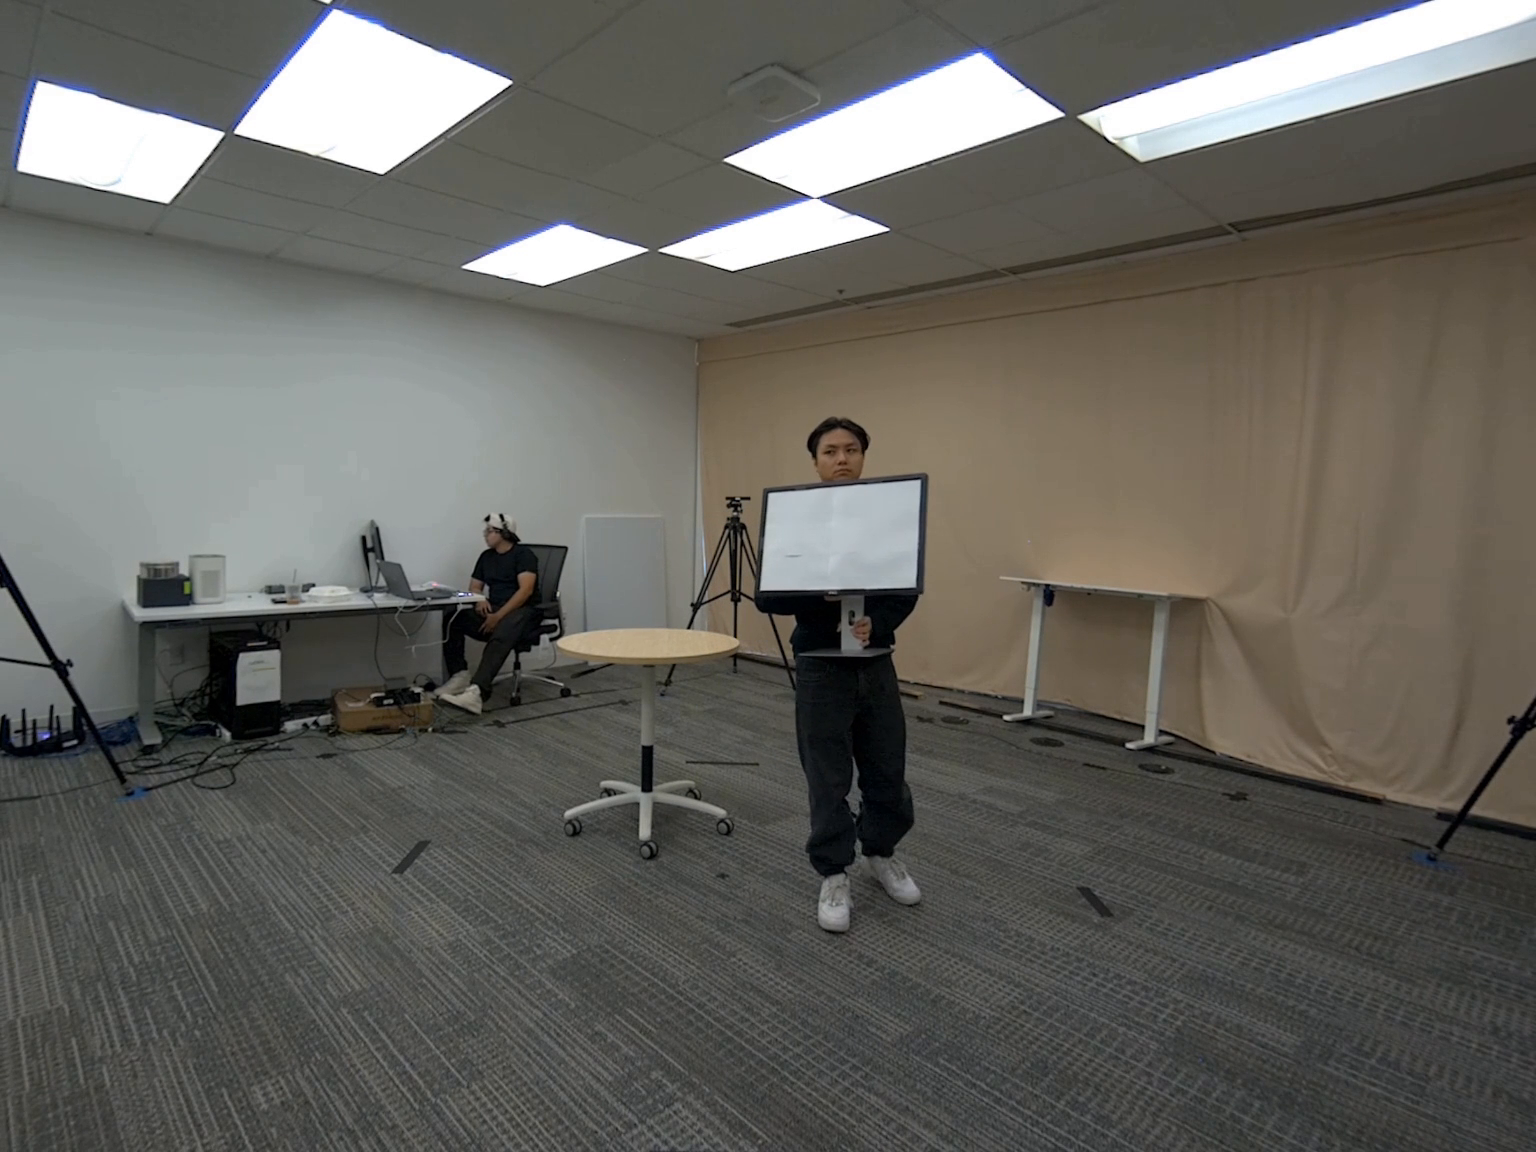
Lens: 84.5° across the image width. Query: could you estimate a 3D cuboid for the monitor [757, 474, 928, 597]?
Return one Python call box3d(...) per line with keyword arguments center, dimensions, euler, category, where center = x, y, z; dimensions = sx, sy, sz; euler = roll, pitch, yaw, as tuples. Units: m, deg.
box3d(center=(0.225, -0.030, 2.616), dimensions=(0.541, 0.515, 0.171), euler=(-1, 3, 32), category="monitor")
